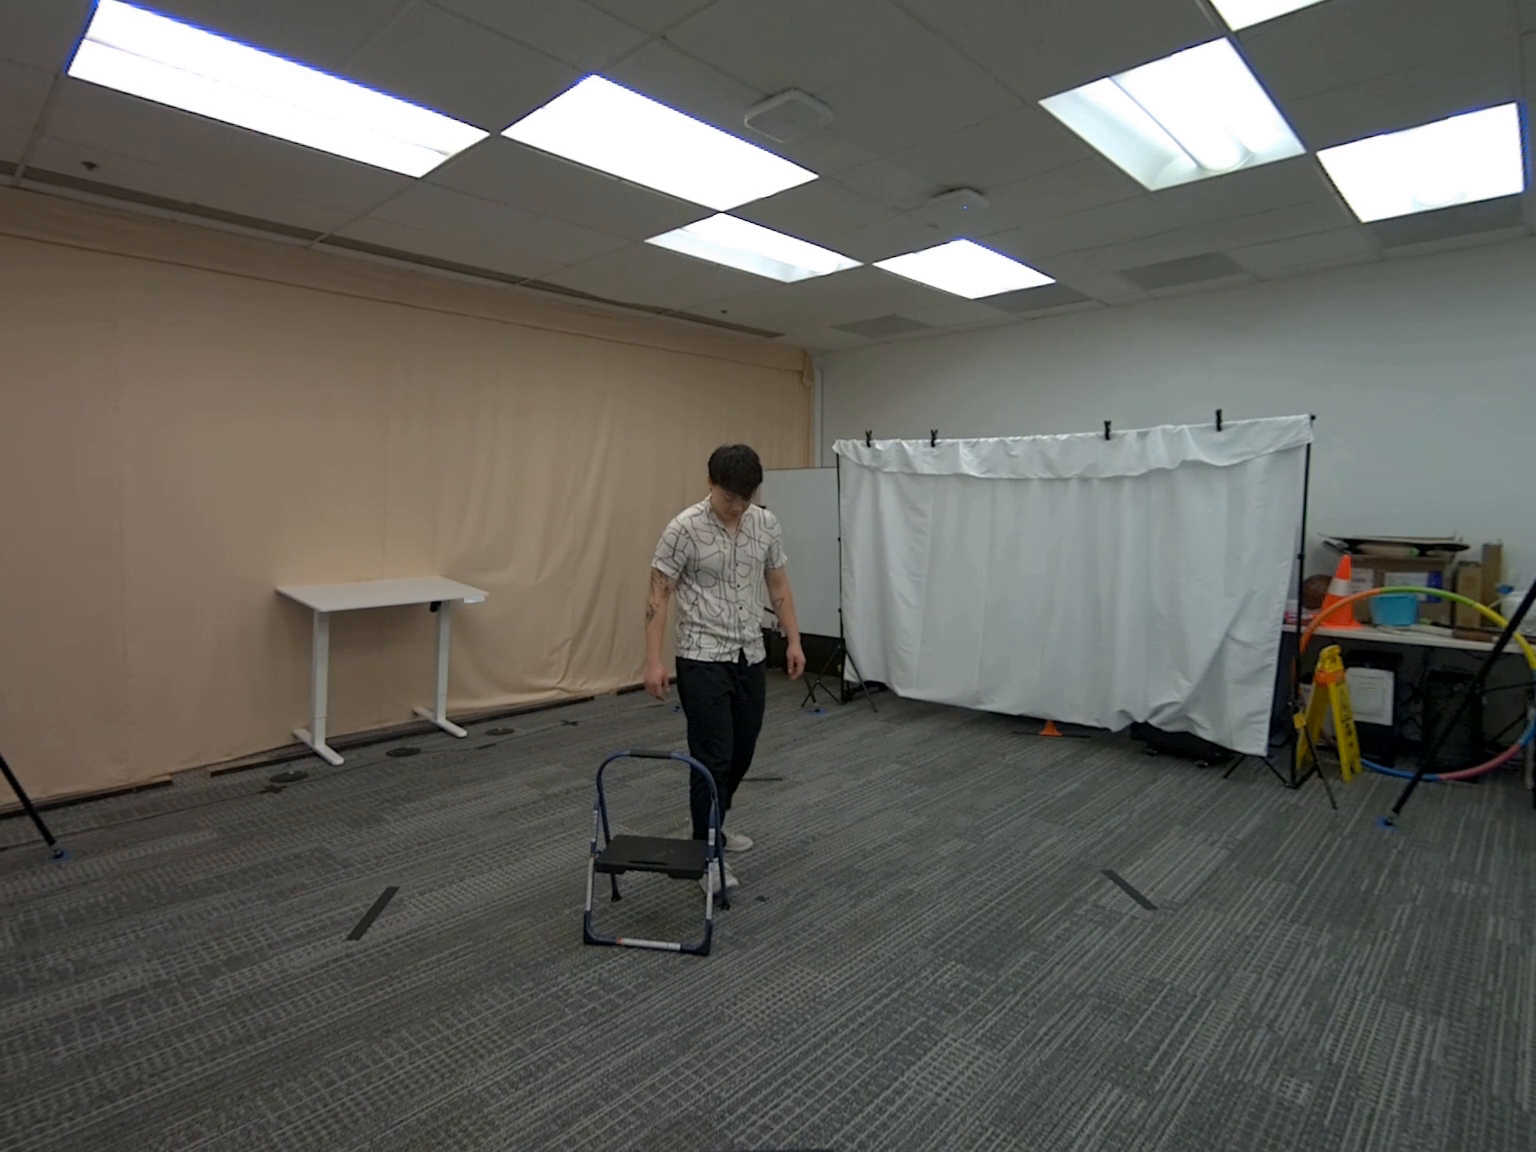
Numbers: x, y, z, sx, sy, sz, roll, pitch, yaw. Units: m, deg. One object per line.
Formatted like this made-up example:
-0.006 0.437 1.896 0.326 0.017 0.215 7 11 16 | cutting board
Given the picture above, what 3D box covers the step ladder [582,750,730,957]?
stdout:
-0.372 0.862 2.784 0.436 0.605 0.346 0 3 10 | step ladder
